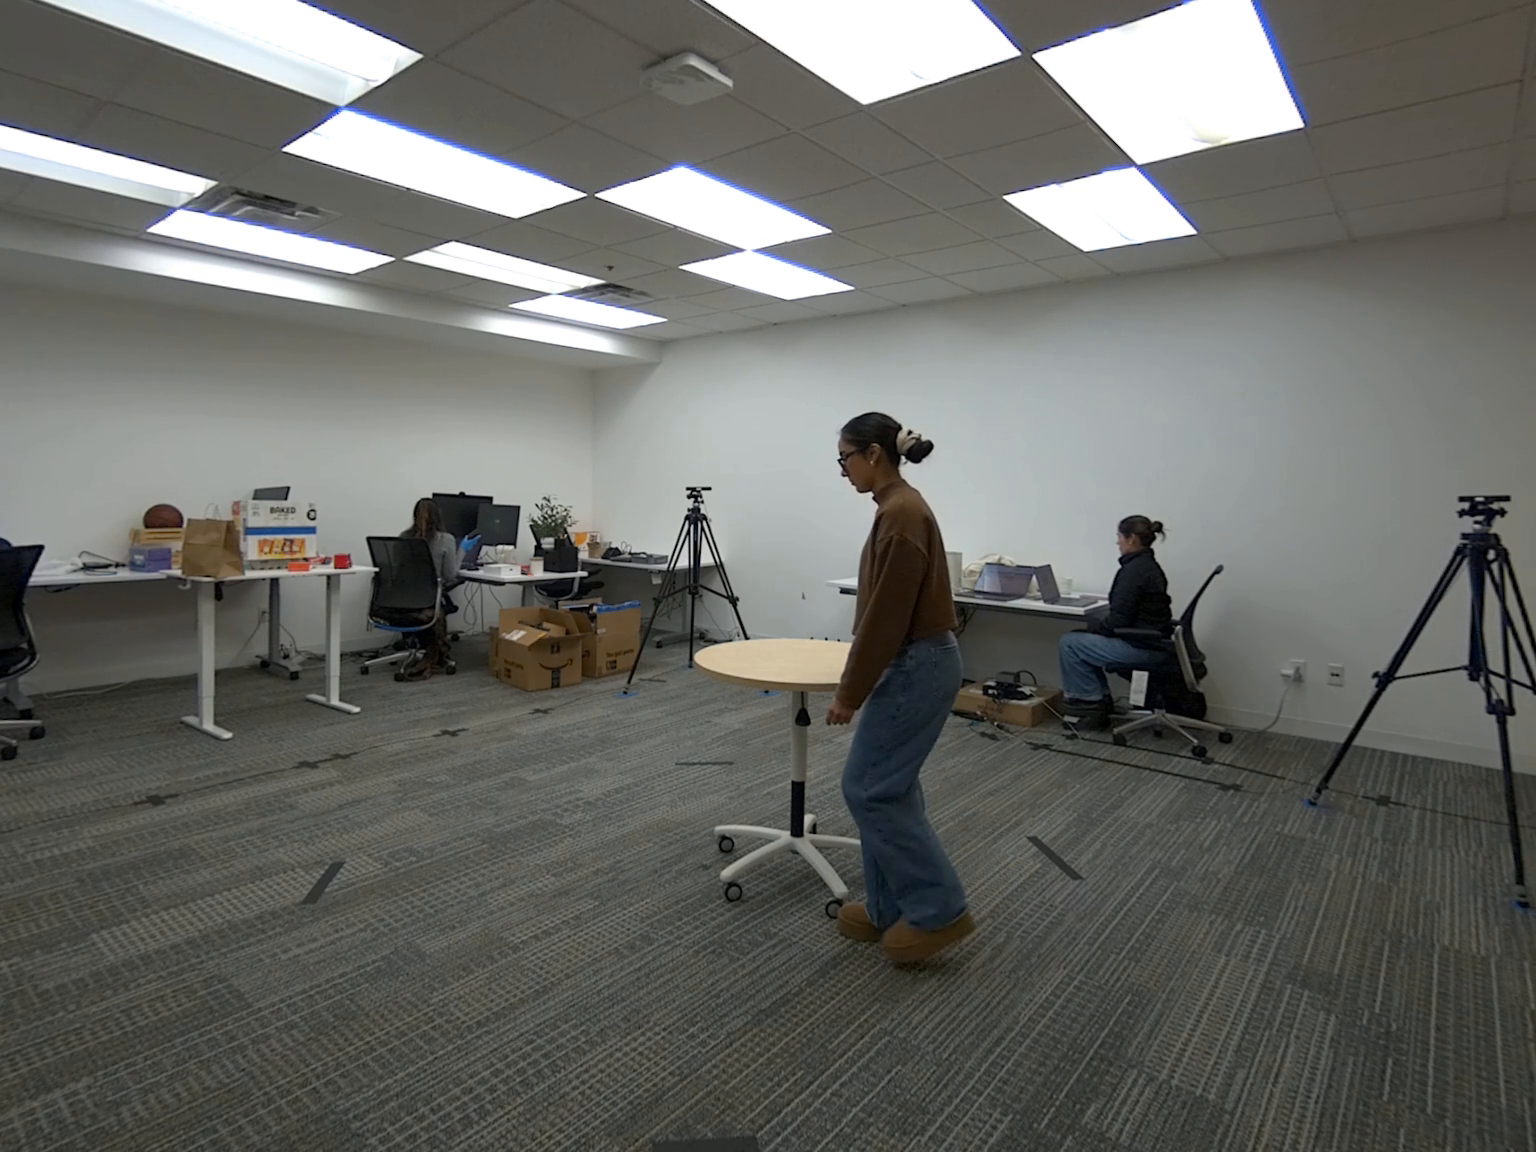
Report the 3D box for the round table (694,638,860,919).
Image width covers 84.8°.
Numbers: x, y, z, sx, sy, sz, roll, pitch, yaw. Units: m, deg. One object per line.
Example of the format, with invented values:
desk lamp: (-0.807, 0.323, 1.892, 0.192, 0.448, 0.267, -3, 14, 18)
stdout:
round table: (0.095, 0.683, 3.062, 0.763, 0.791, 0.768, 1, 4, -2)
